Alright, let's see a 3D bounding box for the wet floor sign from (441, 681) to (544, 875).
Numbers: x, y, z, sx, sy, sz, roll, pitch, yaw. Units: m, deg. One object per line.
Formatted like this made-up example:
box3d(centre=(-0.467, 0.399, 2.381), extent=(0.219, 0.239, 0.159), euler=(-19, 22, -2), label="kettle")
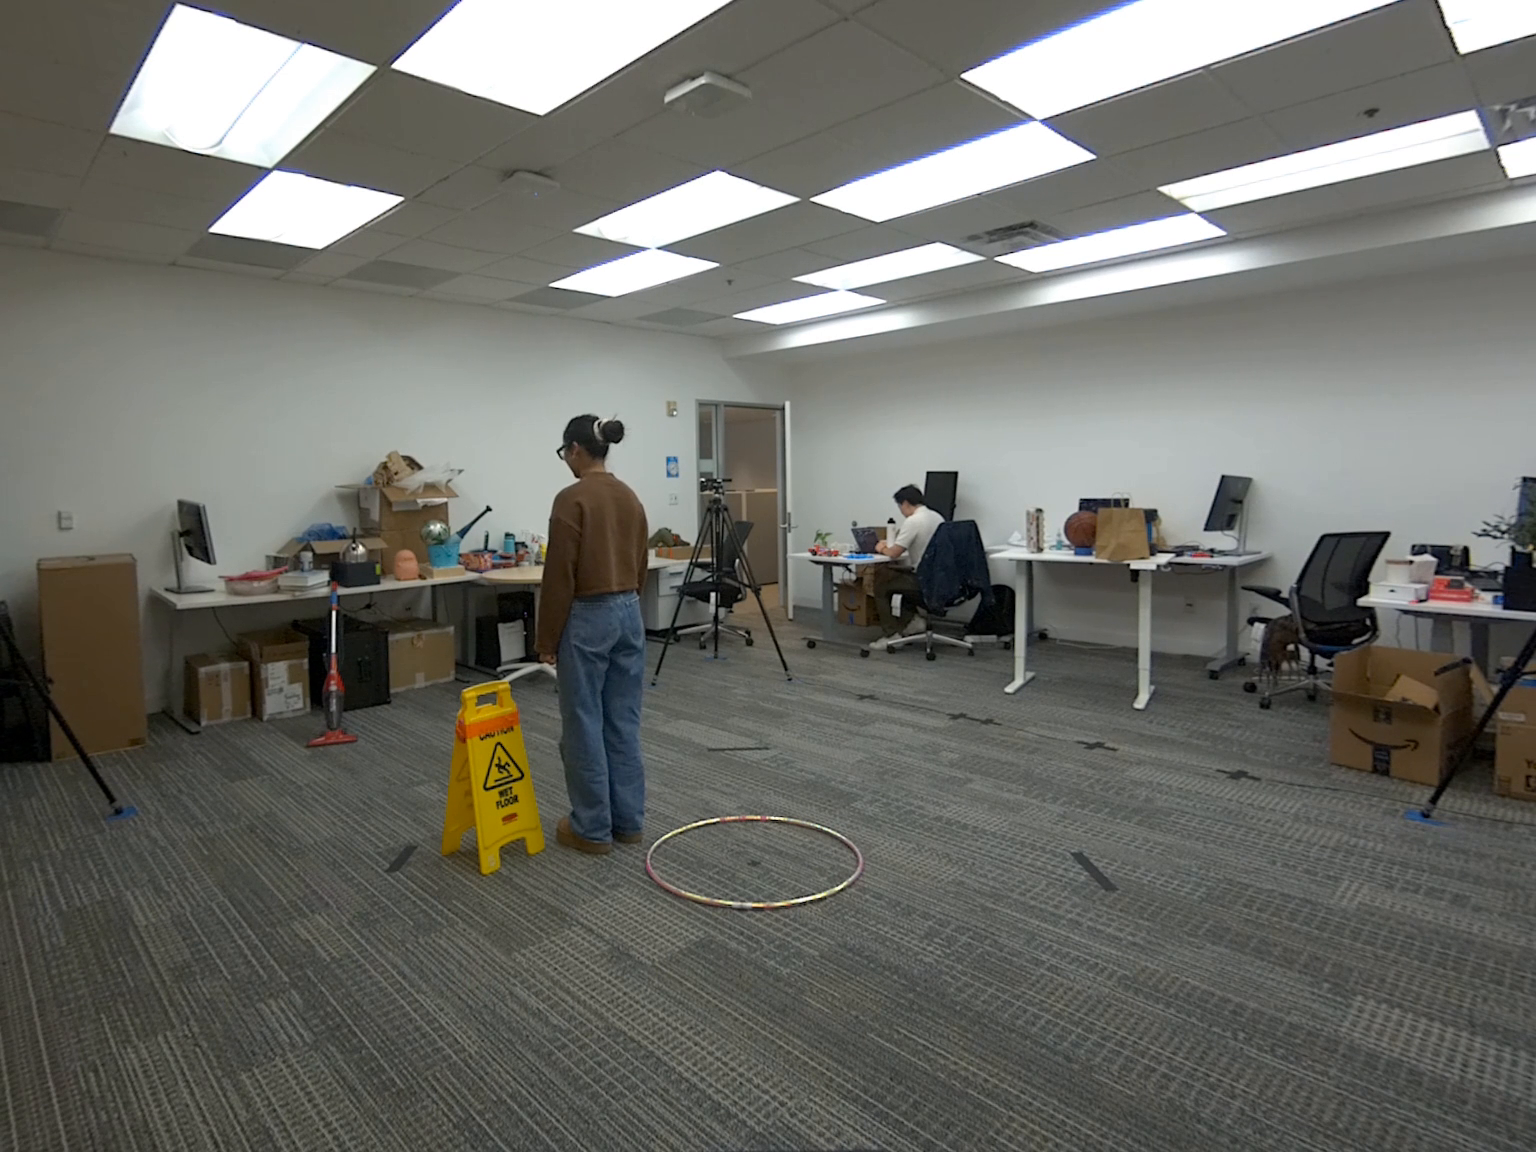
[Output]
box3d(centre=(-1.057, 0.730, 3.224), extent=(0.298, 0.644, 0.275), euler=(2, 4, 39), label="wet floor sign")
